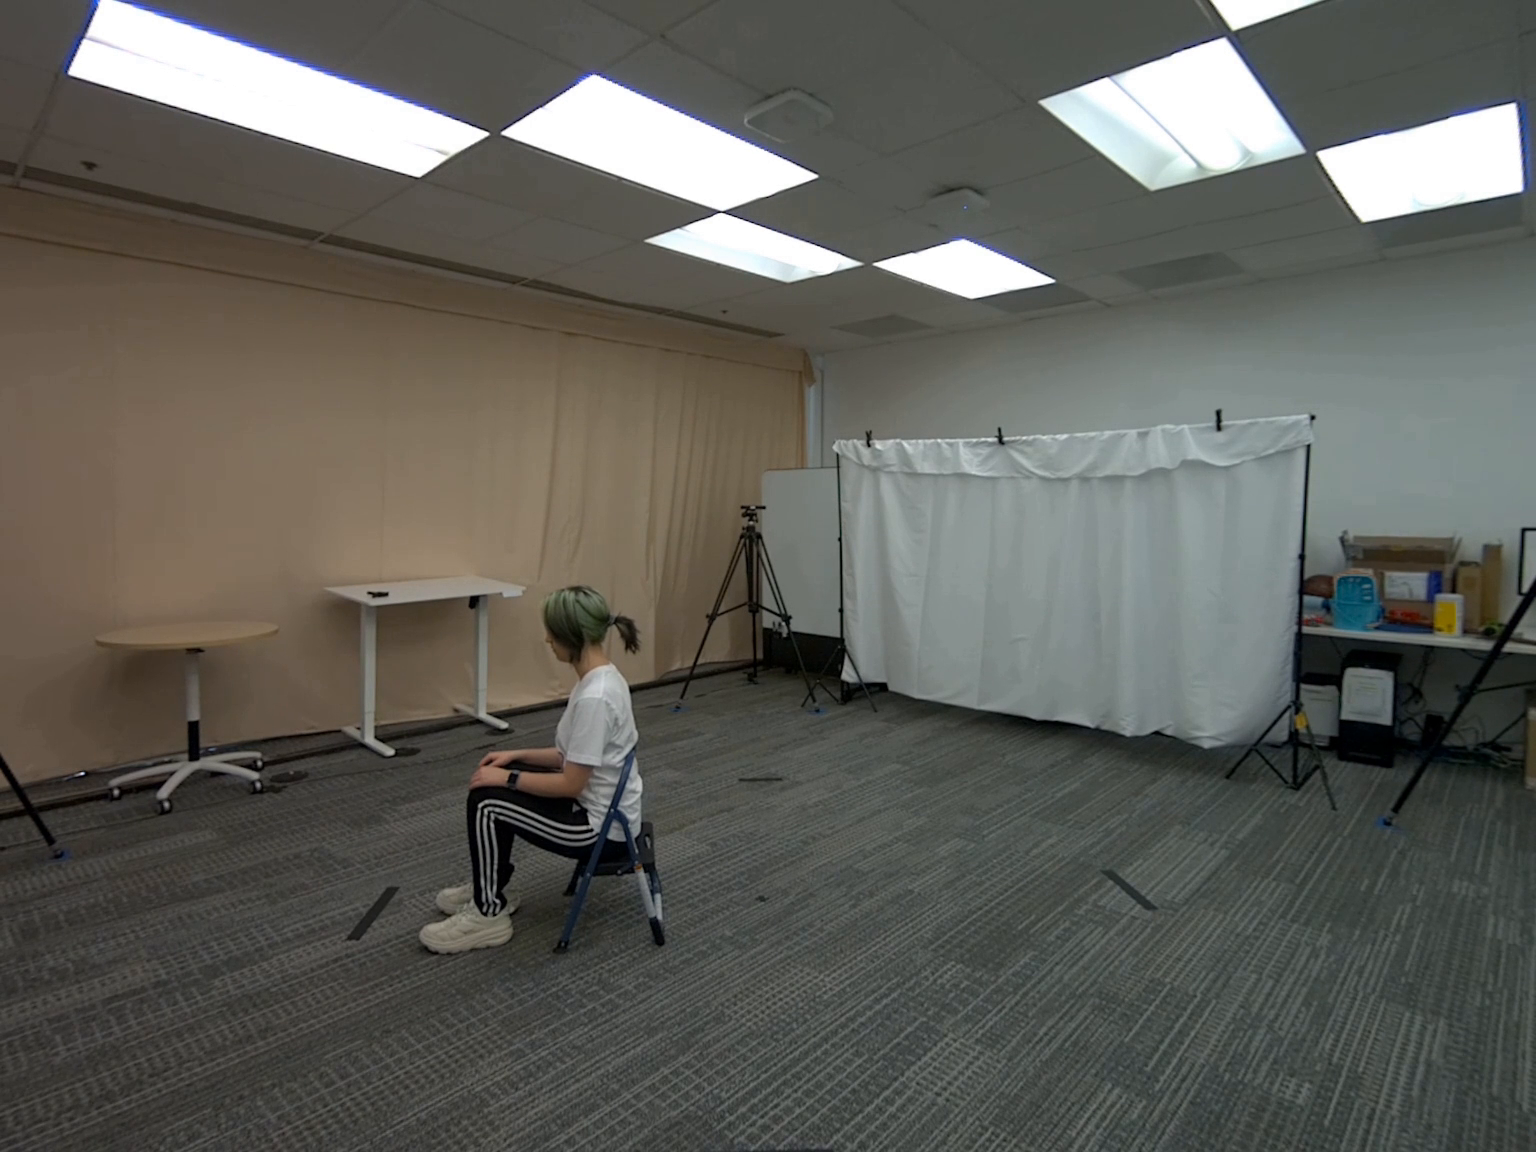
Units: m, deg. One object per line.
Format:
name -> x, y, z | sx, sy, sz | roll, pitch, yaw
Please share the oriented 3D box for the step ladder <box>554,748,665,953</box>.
step ladder -> -0.529, 0.866, 2.833 | 0.346, 0.605, 0.435 | -2, 3, -8
